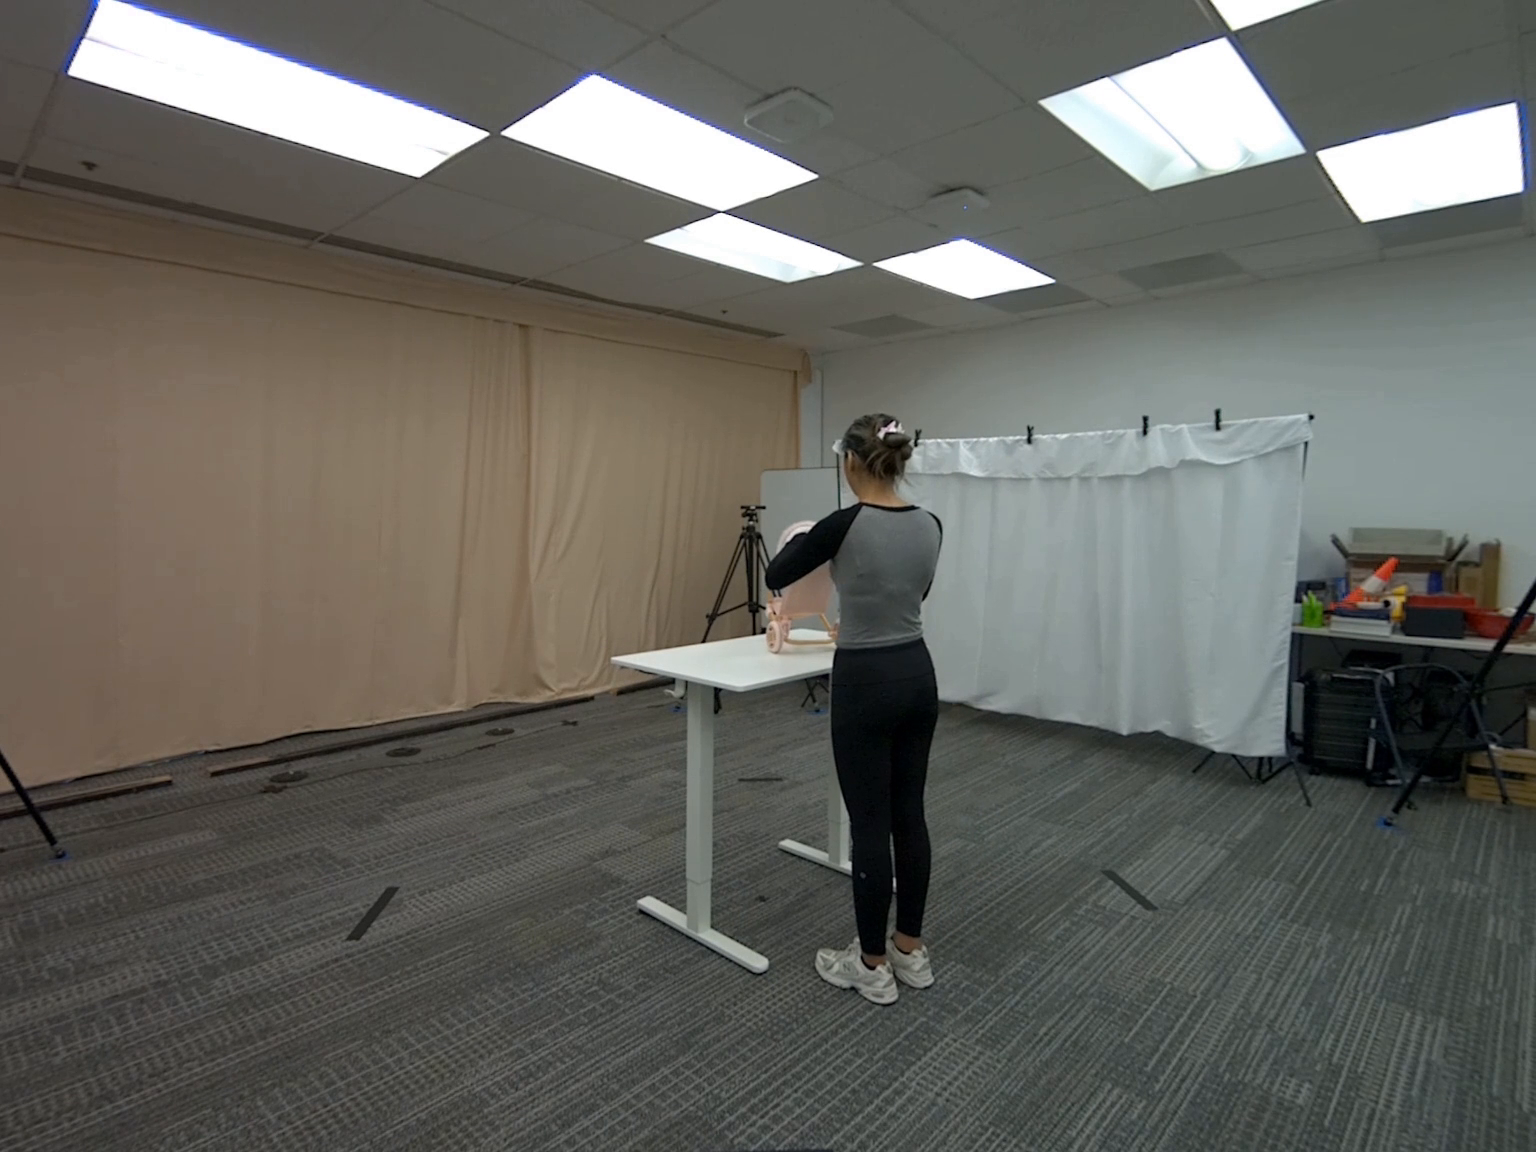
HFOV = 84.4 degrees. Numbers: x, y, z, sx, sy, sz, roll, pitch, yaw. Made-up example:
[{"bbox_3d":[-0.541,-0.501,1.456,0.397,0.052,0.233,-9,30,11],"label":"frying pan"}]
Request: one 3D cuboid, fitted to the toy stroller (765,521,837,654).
[{"bbox_3d":[0.134,0.042,2.978,0.277,0.530,0.349,1,21,-14],"label":"toy stroller"}]
